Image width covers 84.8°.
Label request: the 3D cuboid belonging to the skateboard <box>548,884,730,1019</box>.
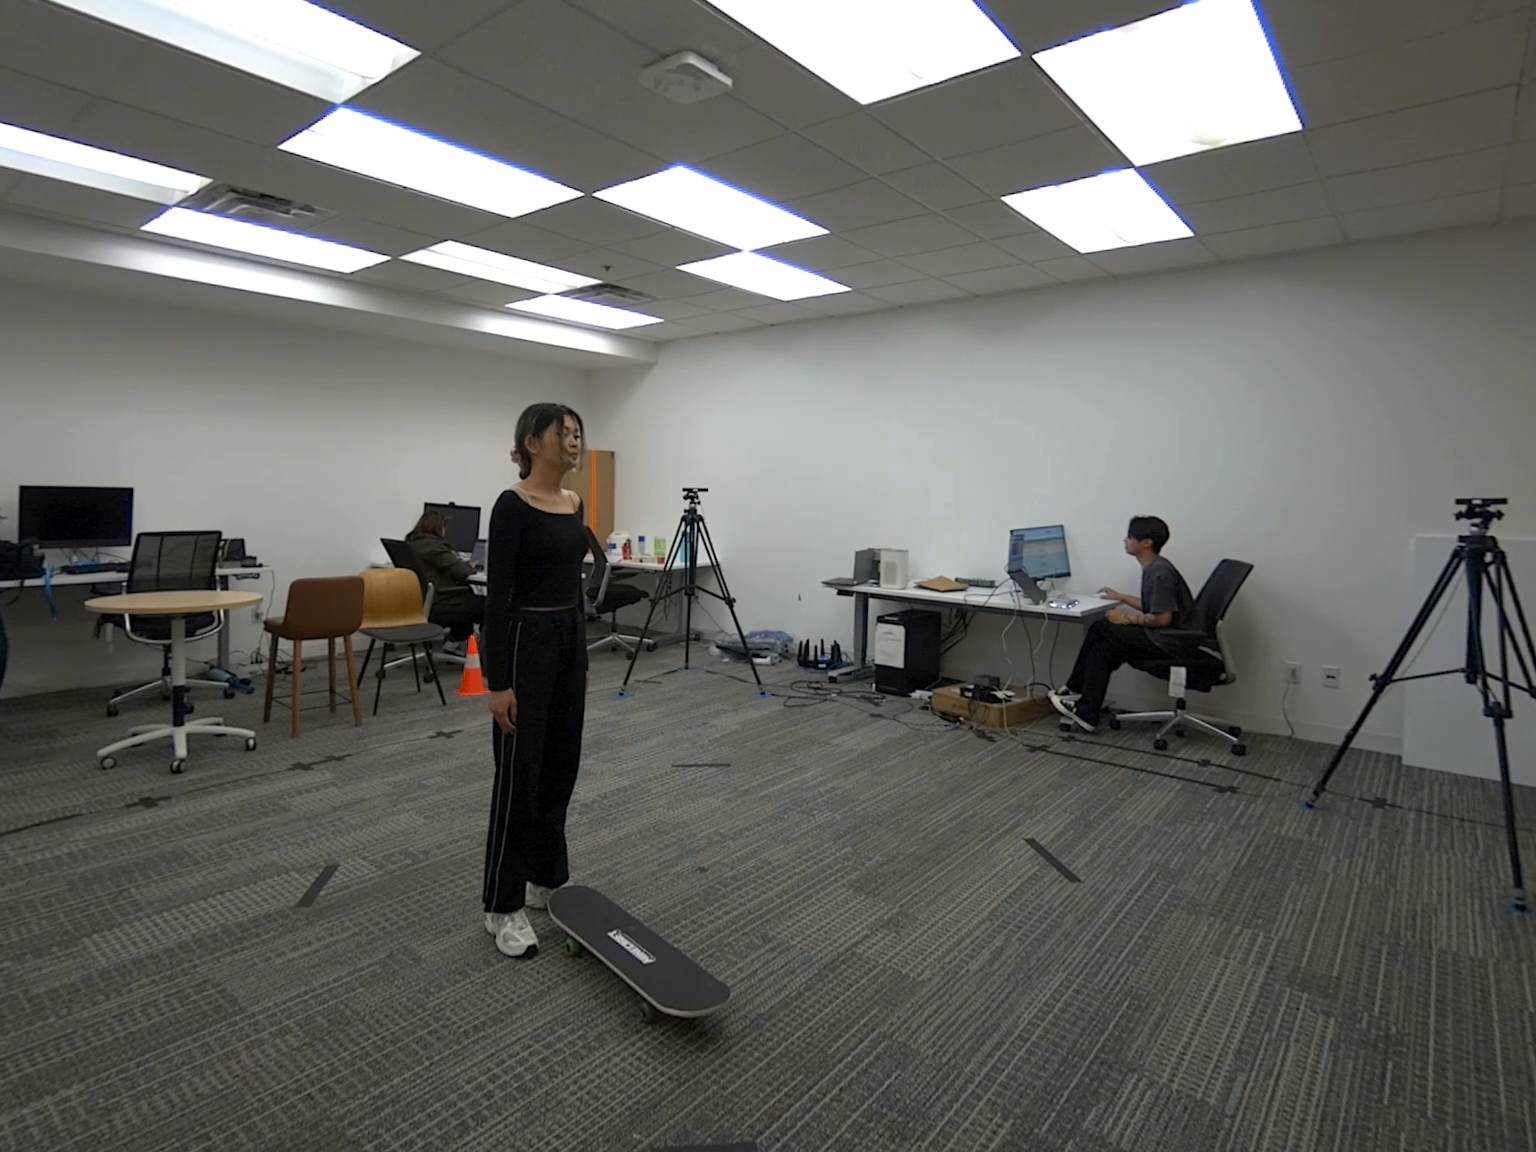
[{"bbox_3d":[-0.398,1.077,2.409,0.188,0.110,0.812,-4,7,-41],"label":"skateboard"}]
